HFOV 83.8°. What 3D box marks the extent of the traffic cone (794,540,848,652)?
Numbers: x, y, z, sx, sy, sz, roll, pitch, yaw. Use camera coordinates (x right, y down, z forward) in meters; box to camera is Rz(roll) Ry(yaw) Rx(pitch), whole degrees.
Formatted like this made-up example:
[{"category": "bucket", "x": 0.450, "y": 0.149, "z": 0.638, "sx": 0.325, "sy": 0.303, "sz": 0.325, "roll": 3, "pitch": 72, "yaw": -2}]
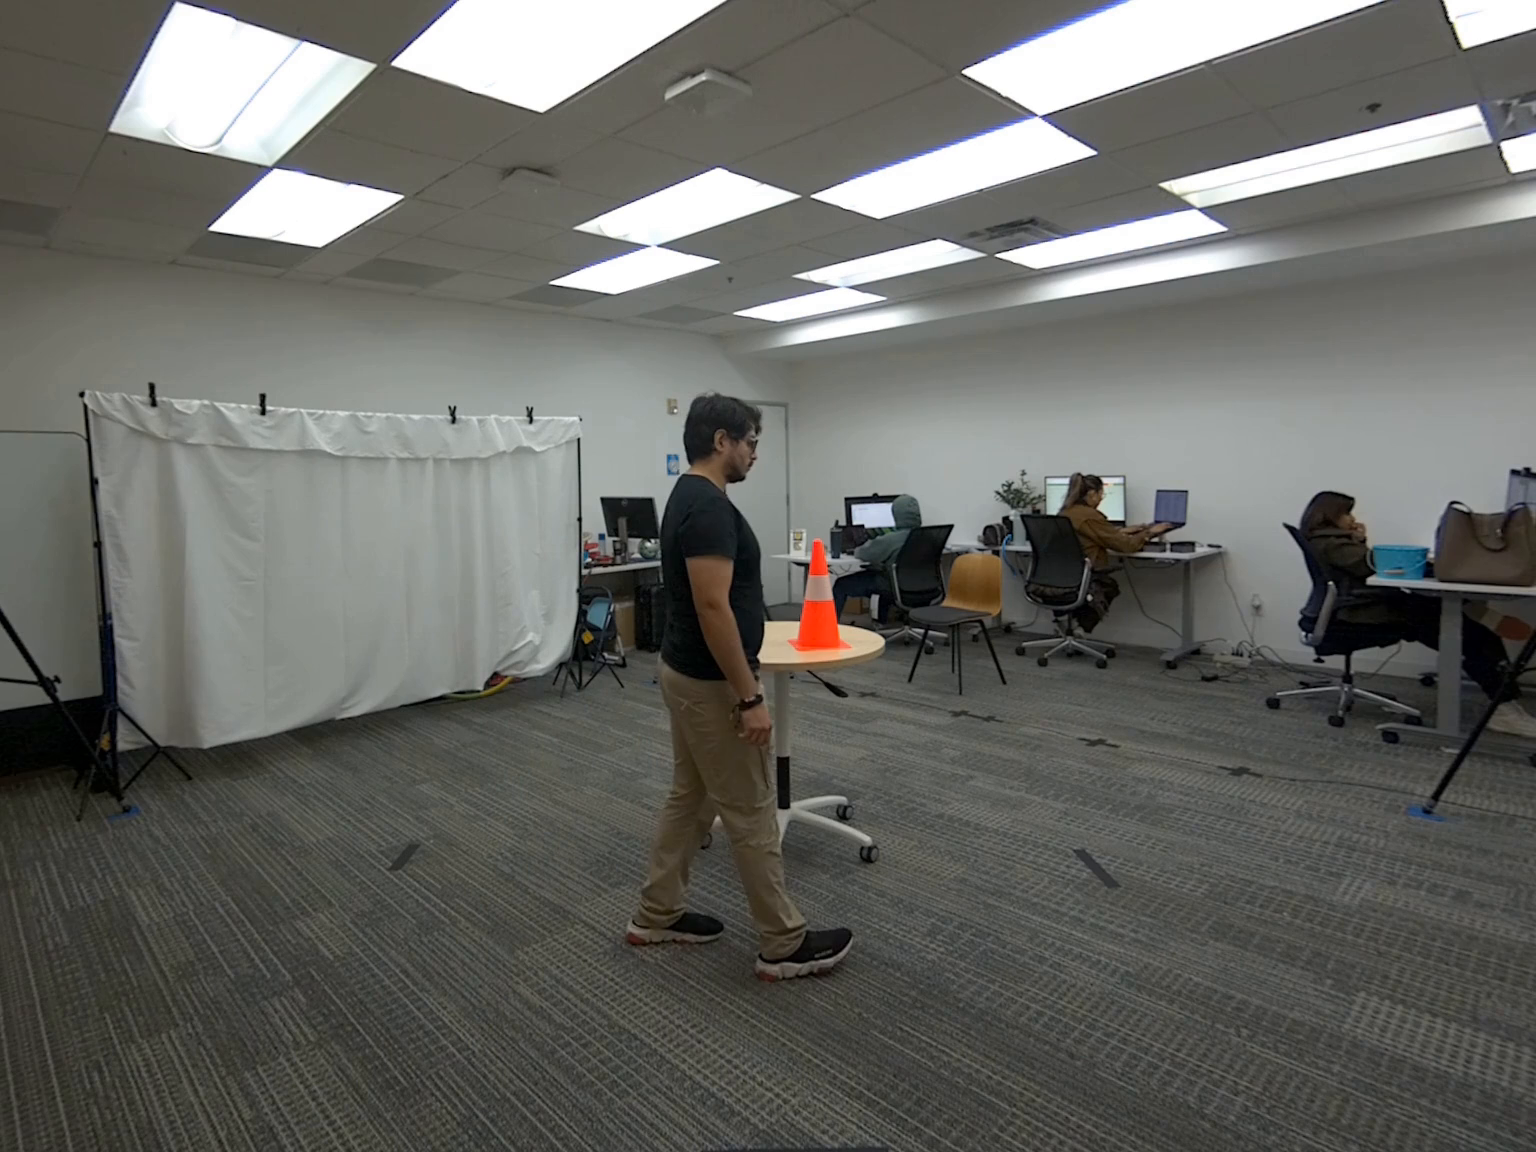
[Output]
[{"category": "traffic cone", "x": 0.182, "y": 0.063, "z": 3.094, "sx": 0.203, "sy": 0.382, "sz": 0.207, "roll": -3, "pitch": 6, "yaw": -13}]
